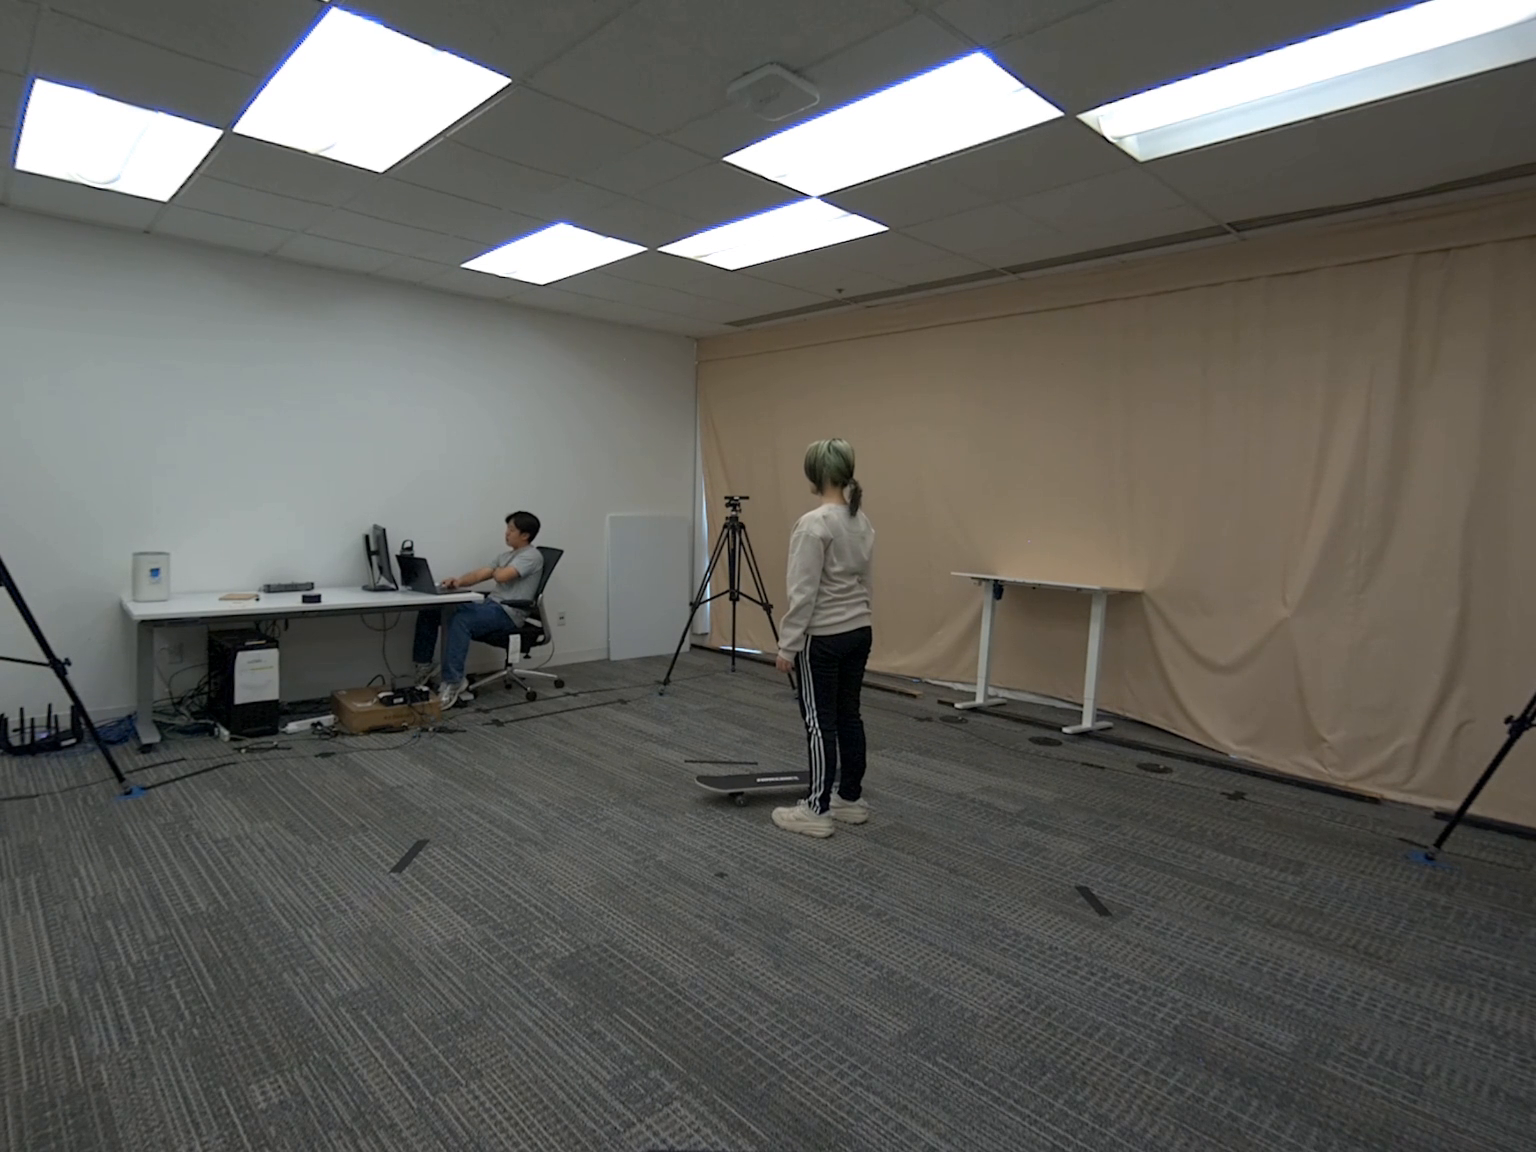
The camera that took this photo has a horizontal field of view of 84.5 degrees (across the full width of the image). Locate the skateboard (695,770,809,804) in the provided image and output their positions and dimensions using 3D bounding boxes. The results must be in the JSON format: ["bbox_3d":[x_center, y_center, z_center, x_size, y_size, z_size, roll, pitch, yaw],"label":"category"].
[{"bbox_3d":[0.033,0.977,3.930,0.776,0.110,0.196,0,5,-15],"label":"skateboard"}]
